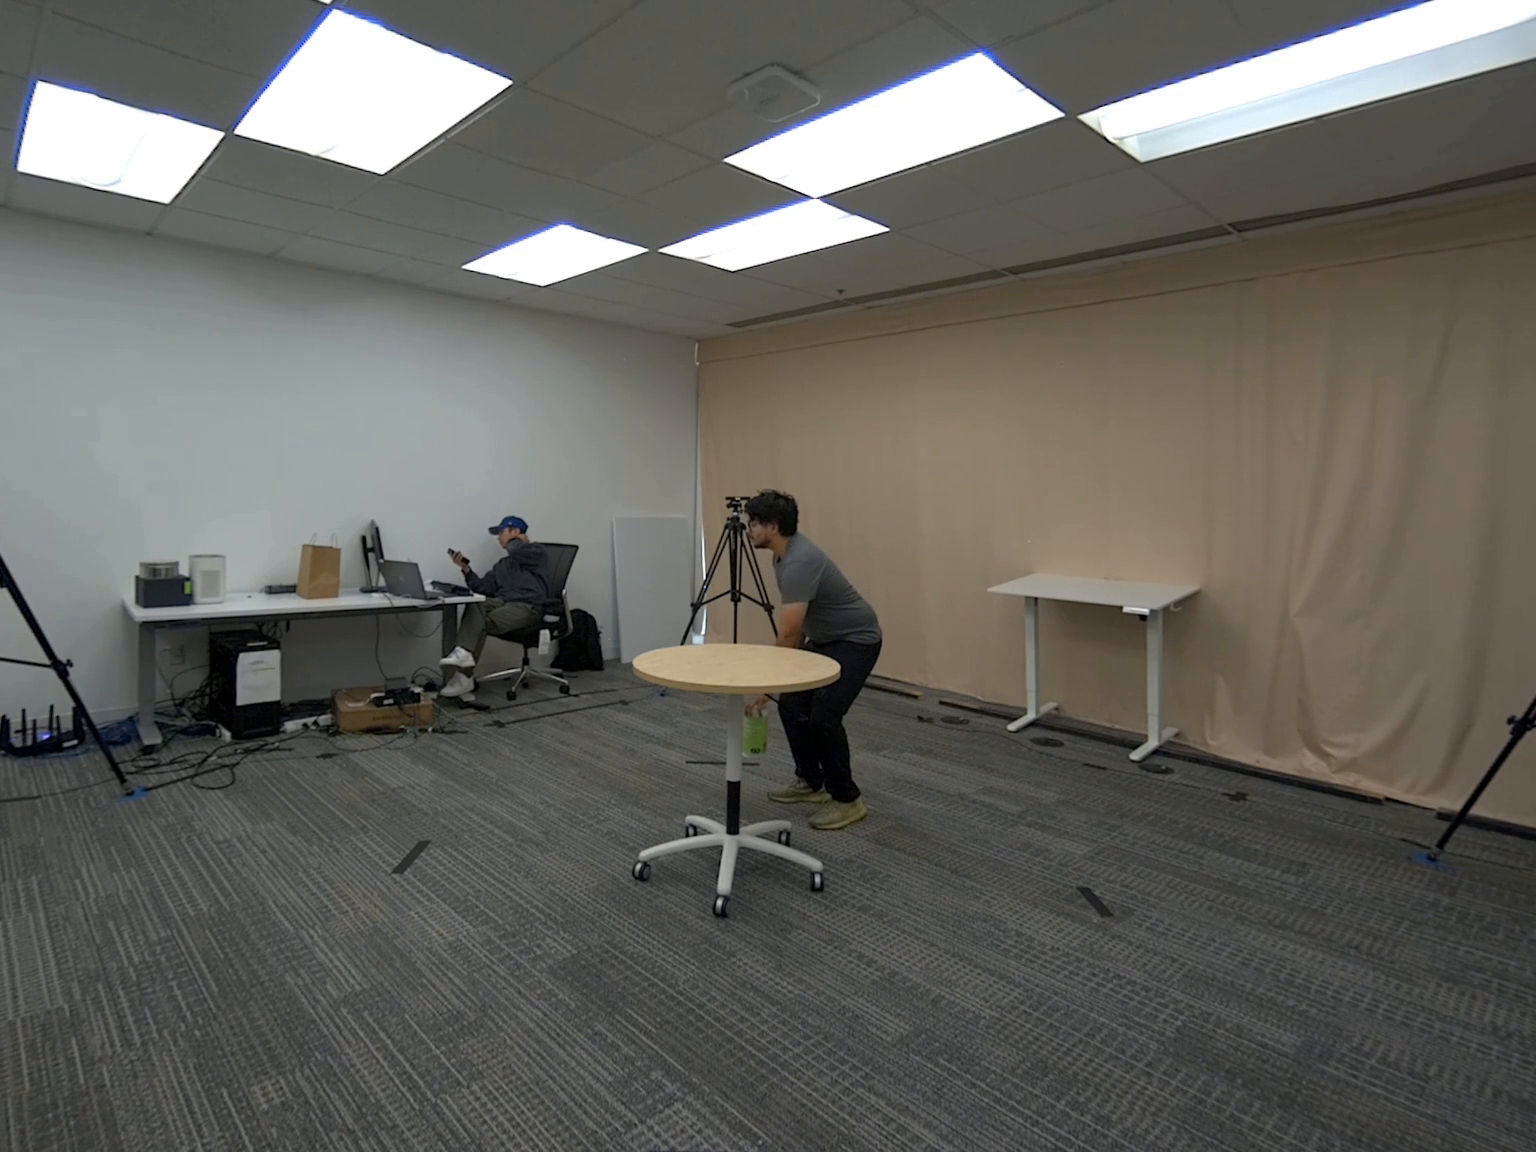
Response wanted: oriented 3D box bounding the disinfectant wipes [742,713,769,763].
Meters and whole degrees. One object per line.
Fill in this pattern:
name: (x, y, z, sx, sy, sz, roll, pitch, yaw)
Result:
disinfectant wipes: (-0.063, 0.670, 3.625, 0.118, 0.216, 0.118, 3, 7, -2)
